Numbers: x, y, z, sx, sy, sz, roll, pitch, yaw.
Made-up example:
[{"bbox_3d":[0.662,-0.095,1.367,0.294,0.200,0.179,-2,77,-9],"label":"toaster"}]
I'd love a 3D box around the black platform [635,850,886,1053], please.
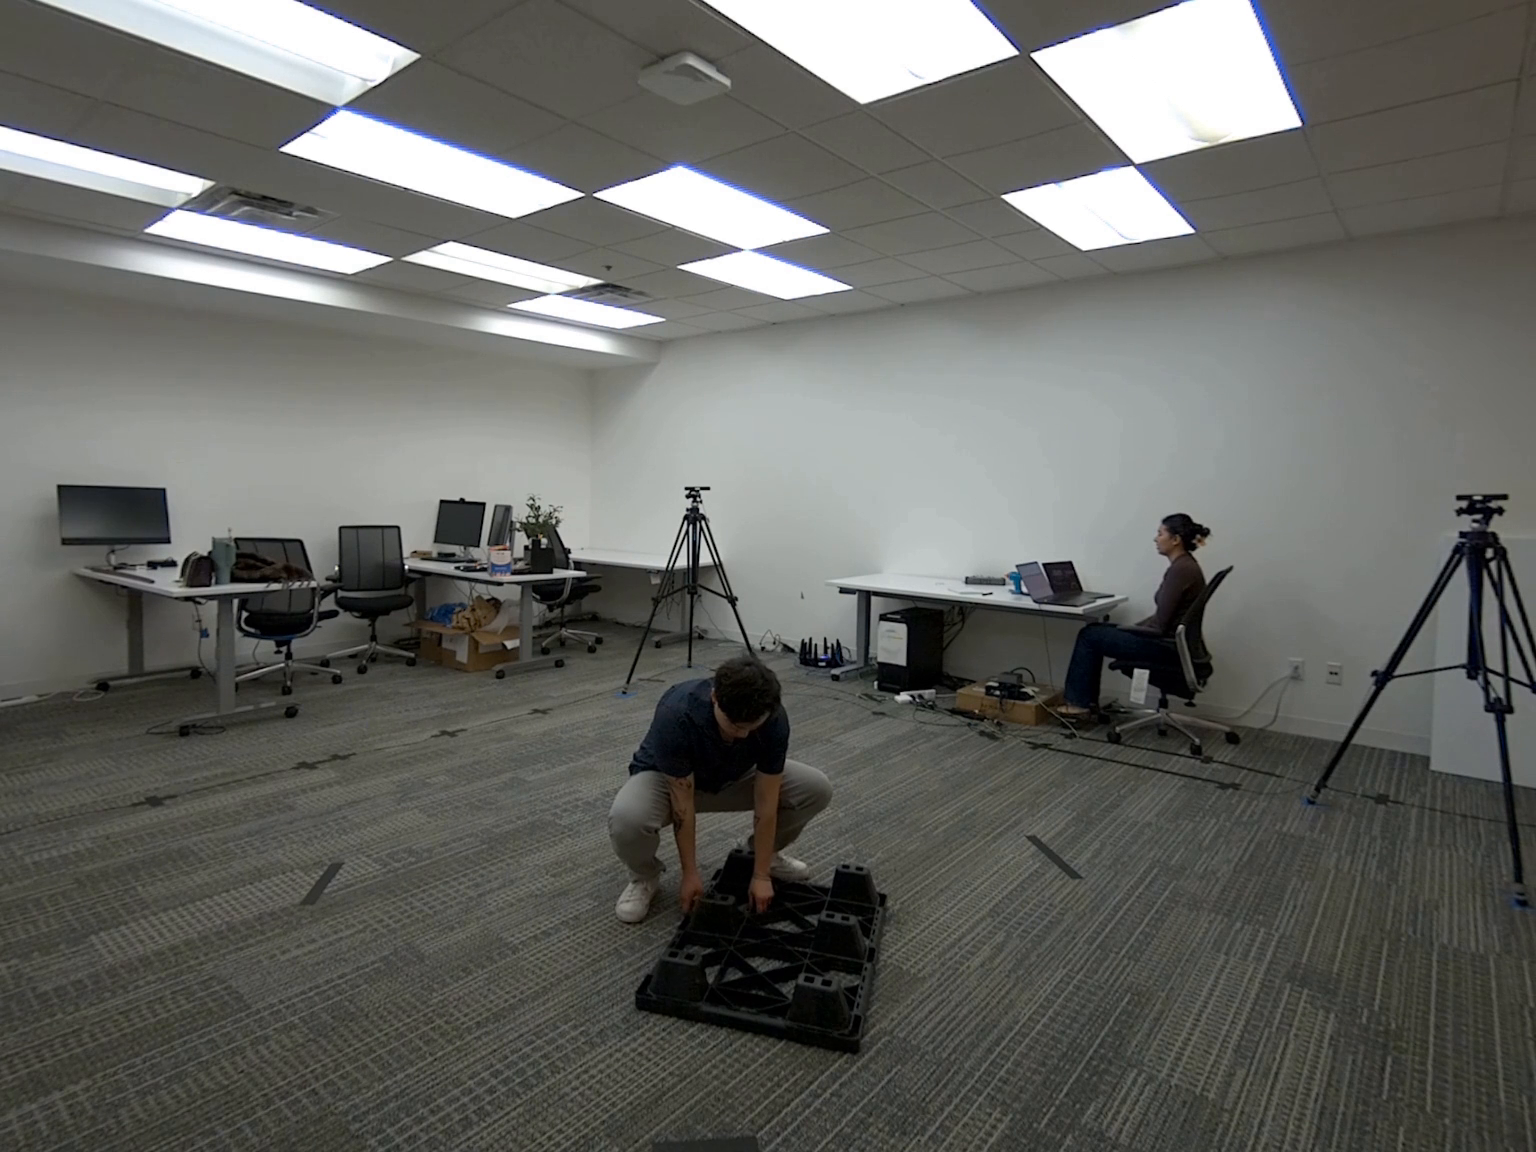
[{"bbox_3d":[0.019,1.055,2.551,0.615,0.143,0.796,2,6,14],"label":"black platform"}]
